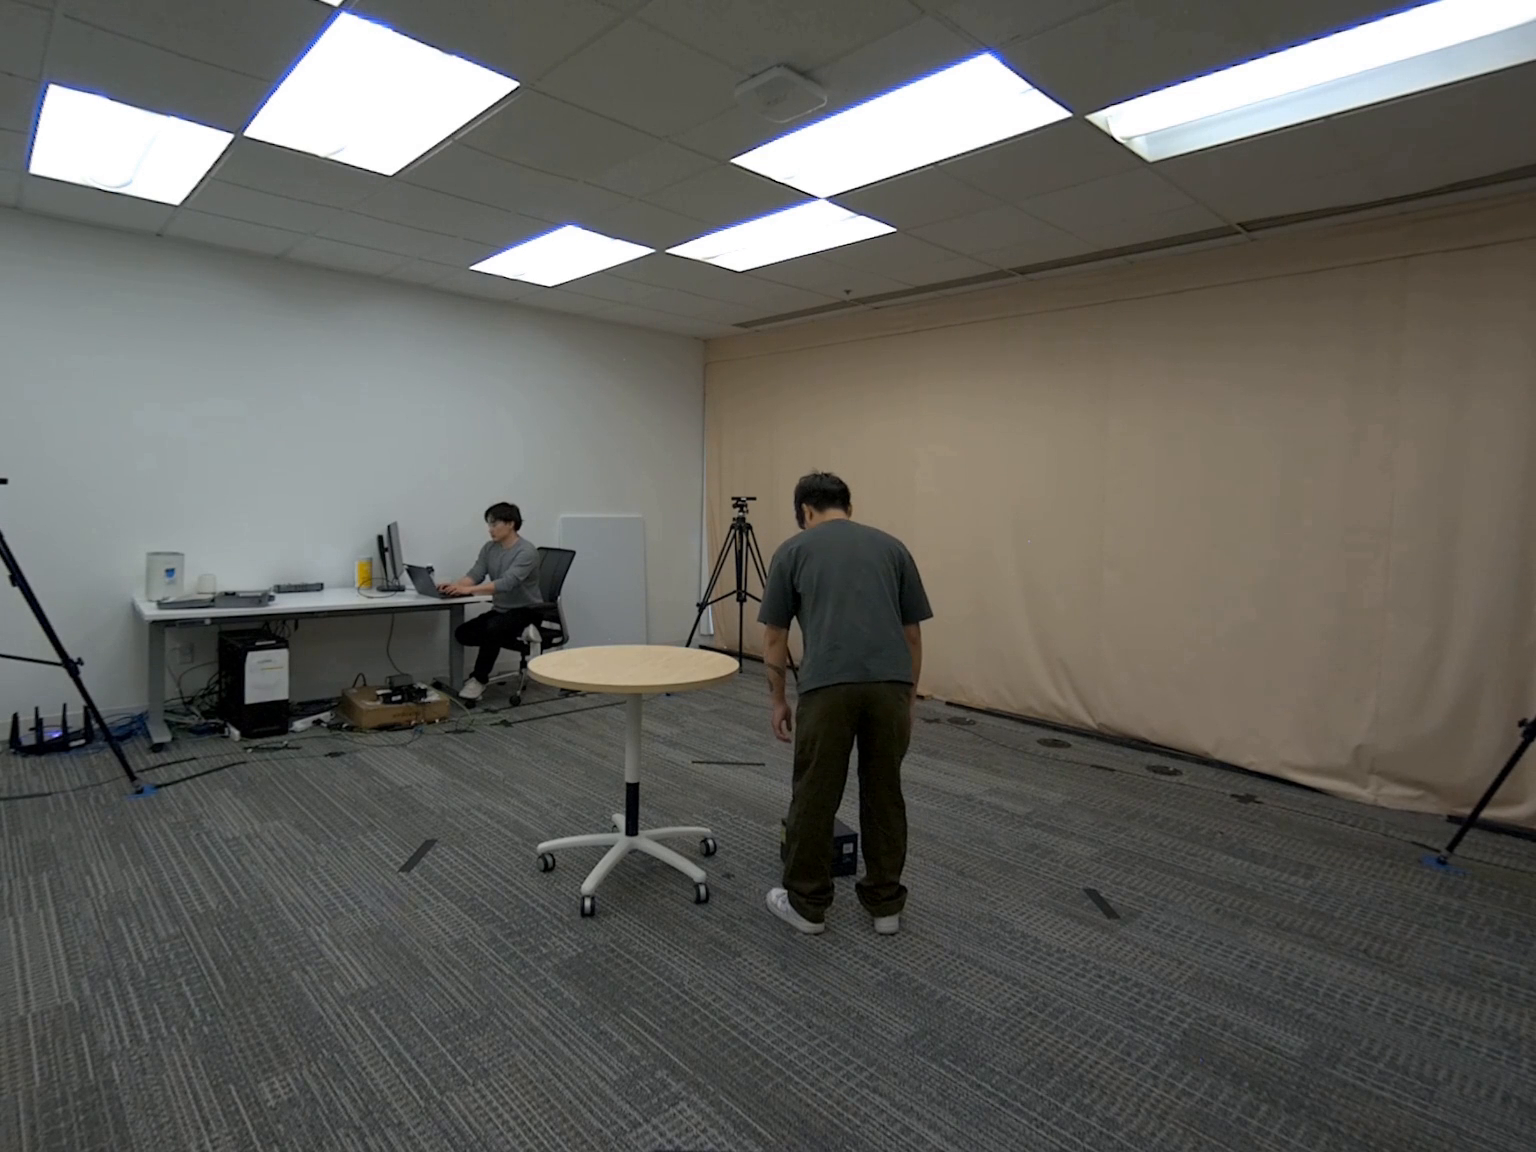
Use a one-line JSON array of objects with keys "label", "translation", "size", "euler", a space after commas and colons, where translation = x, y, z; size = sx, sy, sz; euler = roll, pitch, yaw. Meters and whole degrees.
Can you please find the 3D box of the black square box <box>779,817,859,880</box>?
[{"label": "black square box", "translation": [0.188, 1.023, 3.202], "size": [0.213, 0.155, 0.232], "euler": [-1, 4, -23]}]
